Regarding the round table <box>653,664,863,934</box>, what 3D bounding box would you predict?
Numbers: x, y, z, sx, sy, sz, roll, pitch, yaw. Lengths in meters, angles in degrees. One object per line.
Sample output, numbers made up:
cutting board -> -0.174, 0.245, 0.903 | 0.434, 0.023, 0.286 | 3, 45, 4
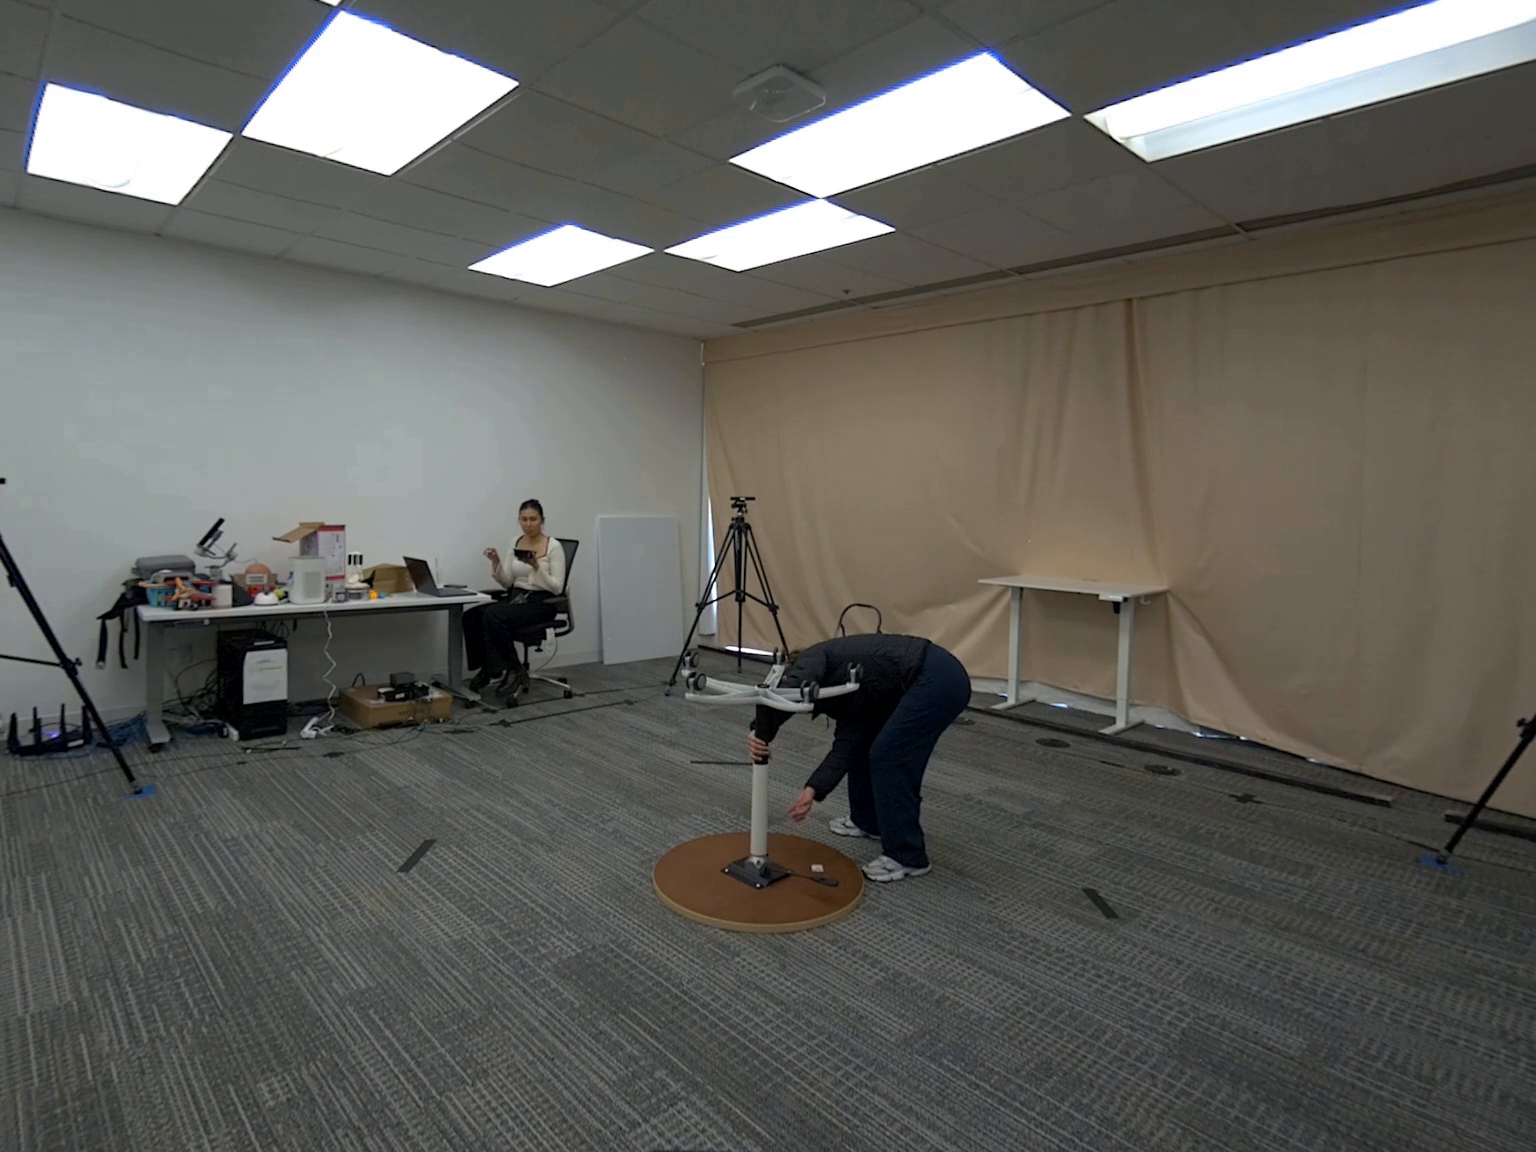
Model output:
round table -> -0.029, 0.712, 3.034 | 0.784, 0.785, 0.787 | 1, 3, -1
